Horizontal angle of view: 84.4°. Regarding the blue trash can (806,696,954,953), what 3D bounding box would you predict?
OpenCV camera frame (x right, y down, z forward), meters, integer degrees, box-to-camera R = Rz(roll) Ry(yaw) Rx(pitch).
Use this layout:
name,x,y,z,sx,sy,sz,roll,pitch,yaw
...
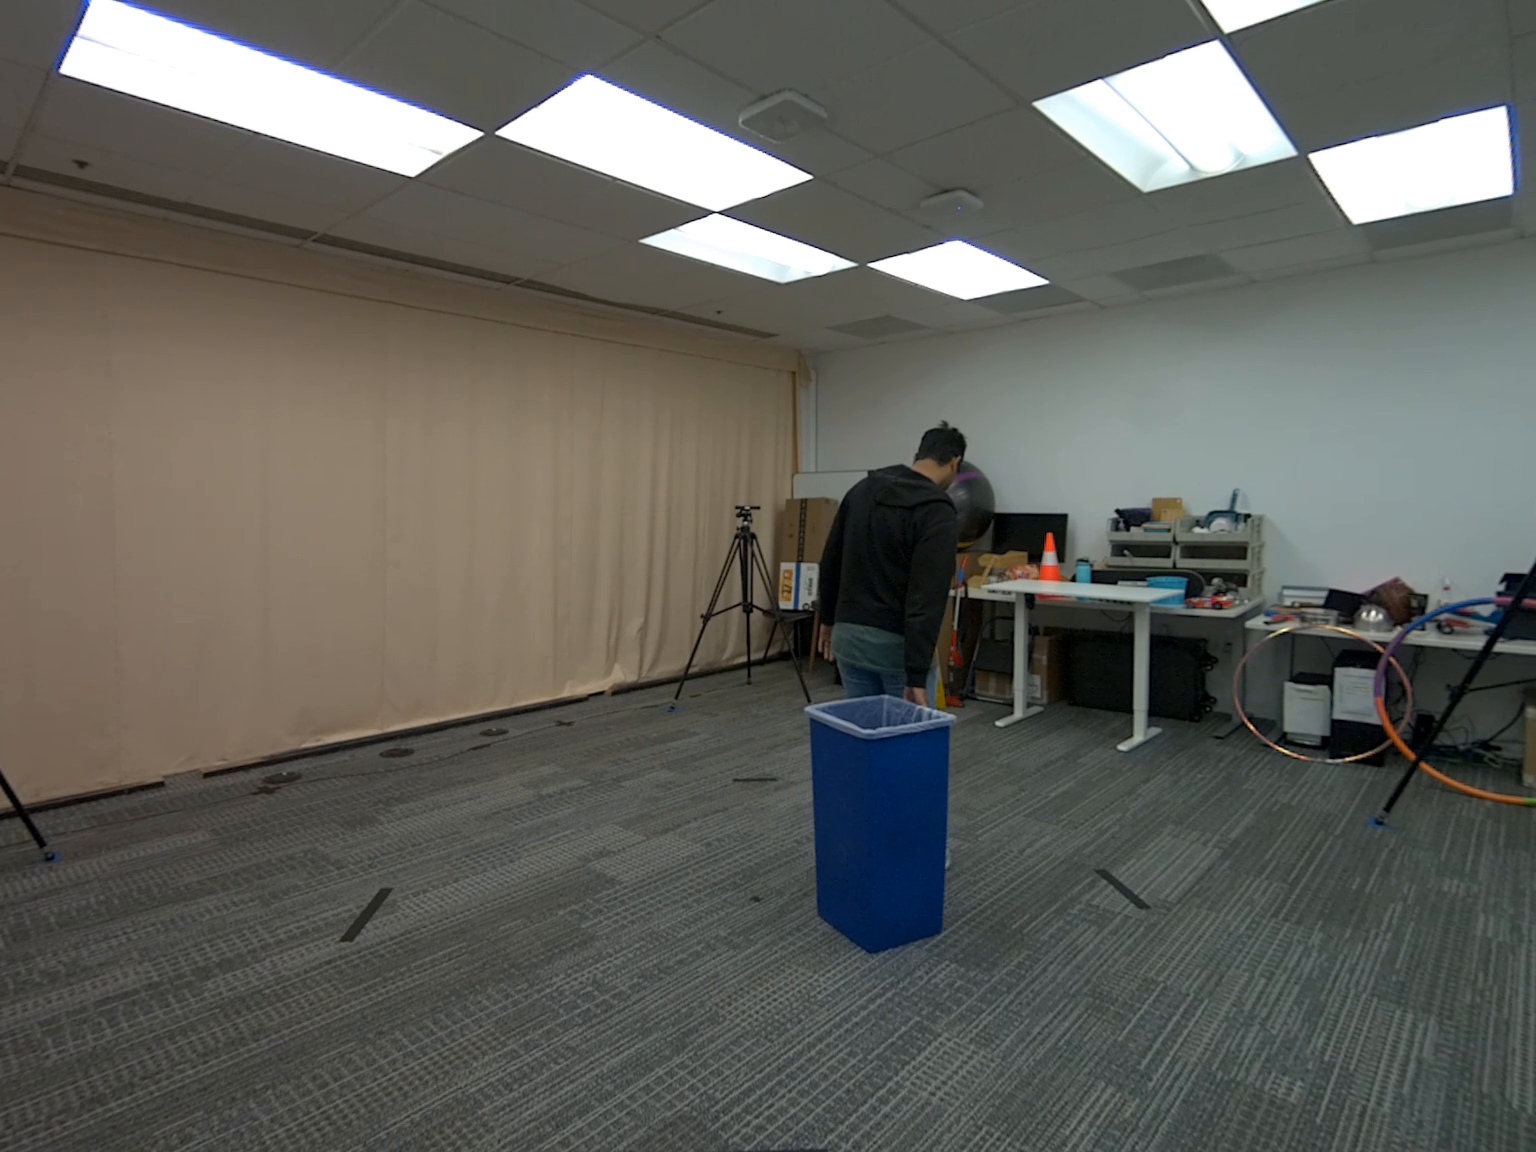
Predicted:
name,x,y,z,sx,sy,sz,roll,pitch,yaw
blue trash can,0.362,0.800,2.790,0.368,0.712,0.385,-3,4,-31
